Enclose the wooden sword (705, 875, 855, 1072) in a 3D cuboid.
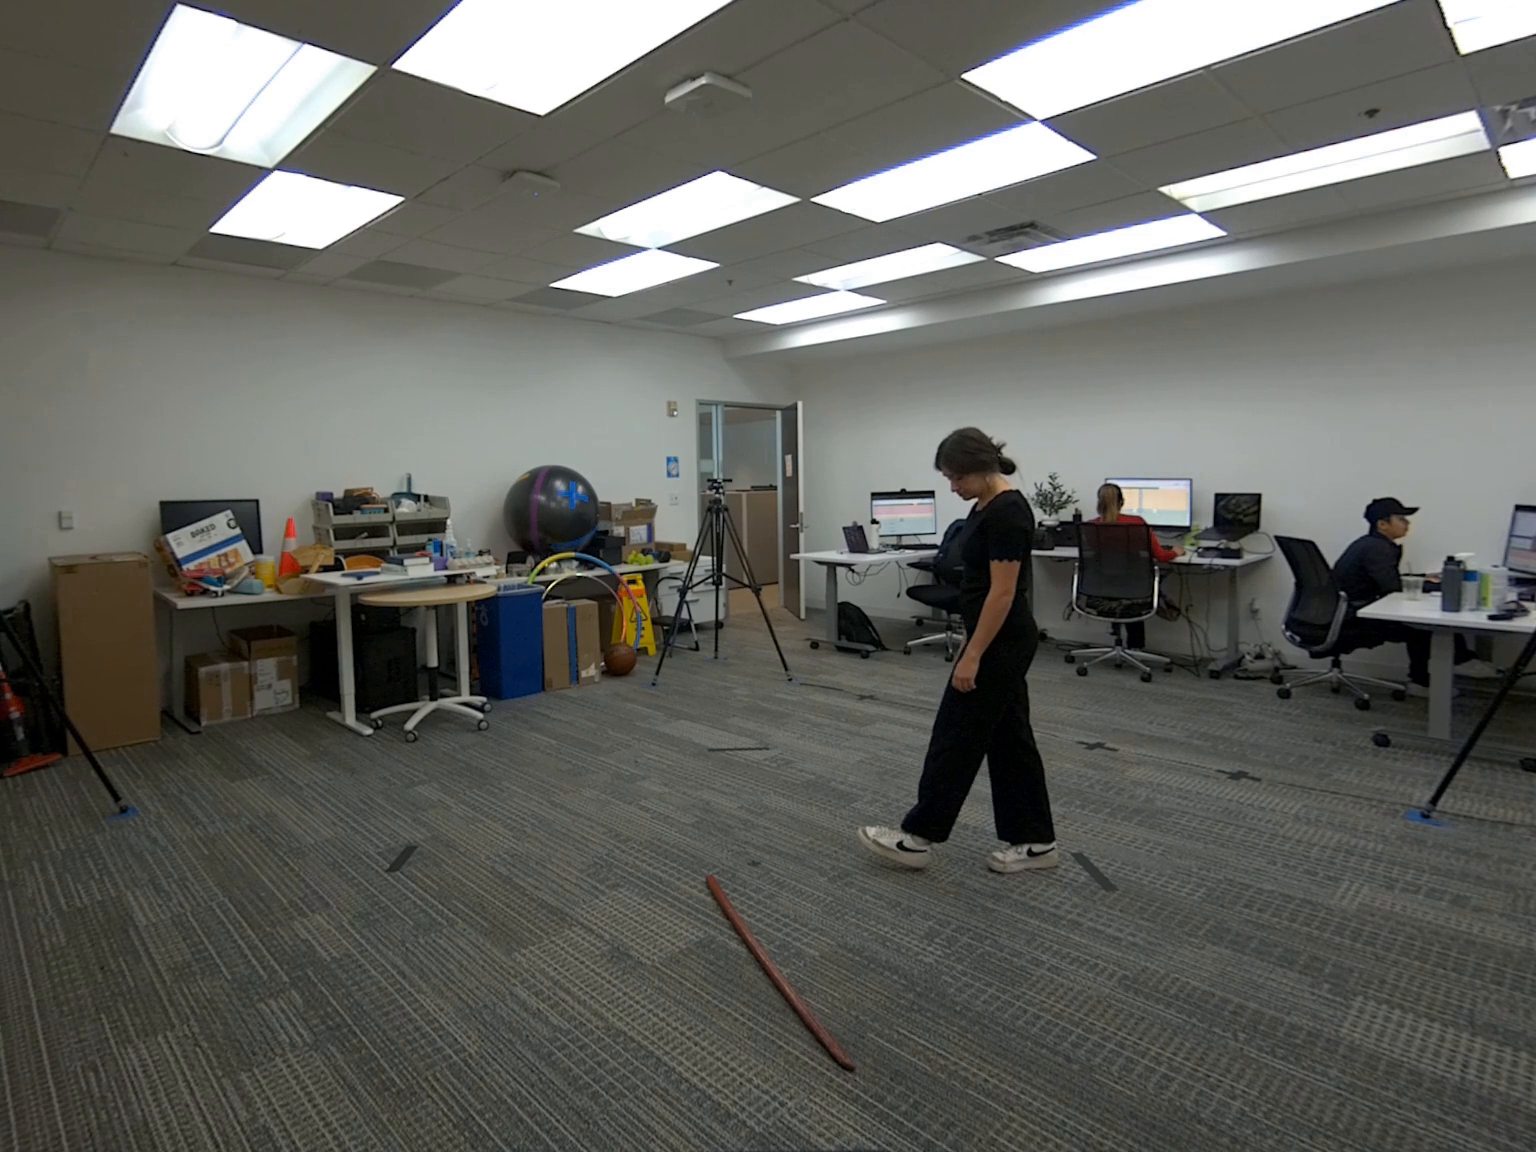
[{"bbox_3d":[-0.012,1.105,2.484,0.023,0.051,1.048,25,-4,-22],"label":"wooden sword"}]
